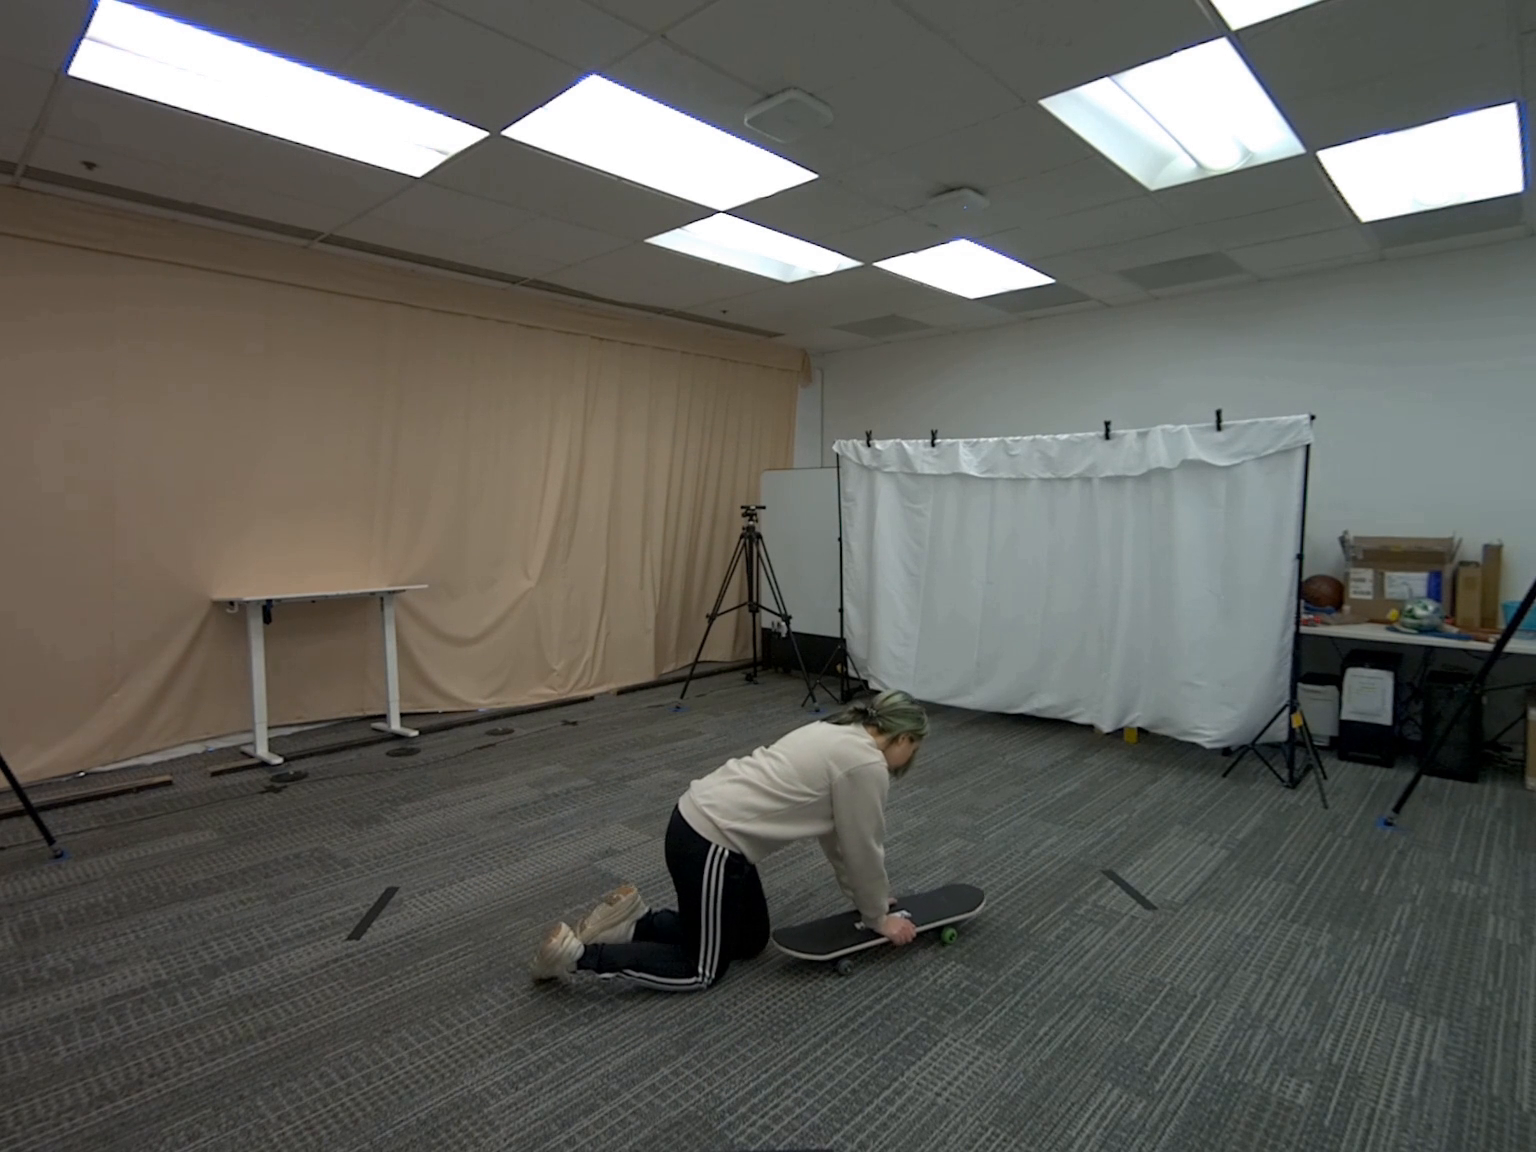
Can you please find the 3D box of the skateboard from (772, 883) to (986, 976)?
[{"bbox_3d":[0.367,1.117,2.644,0.766,0.110,0.198,-2,3,-26],"label":"skateboard"}]
